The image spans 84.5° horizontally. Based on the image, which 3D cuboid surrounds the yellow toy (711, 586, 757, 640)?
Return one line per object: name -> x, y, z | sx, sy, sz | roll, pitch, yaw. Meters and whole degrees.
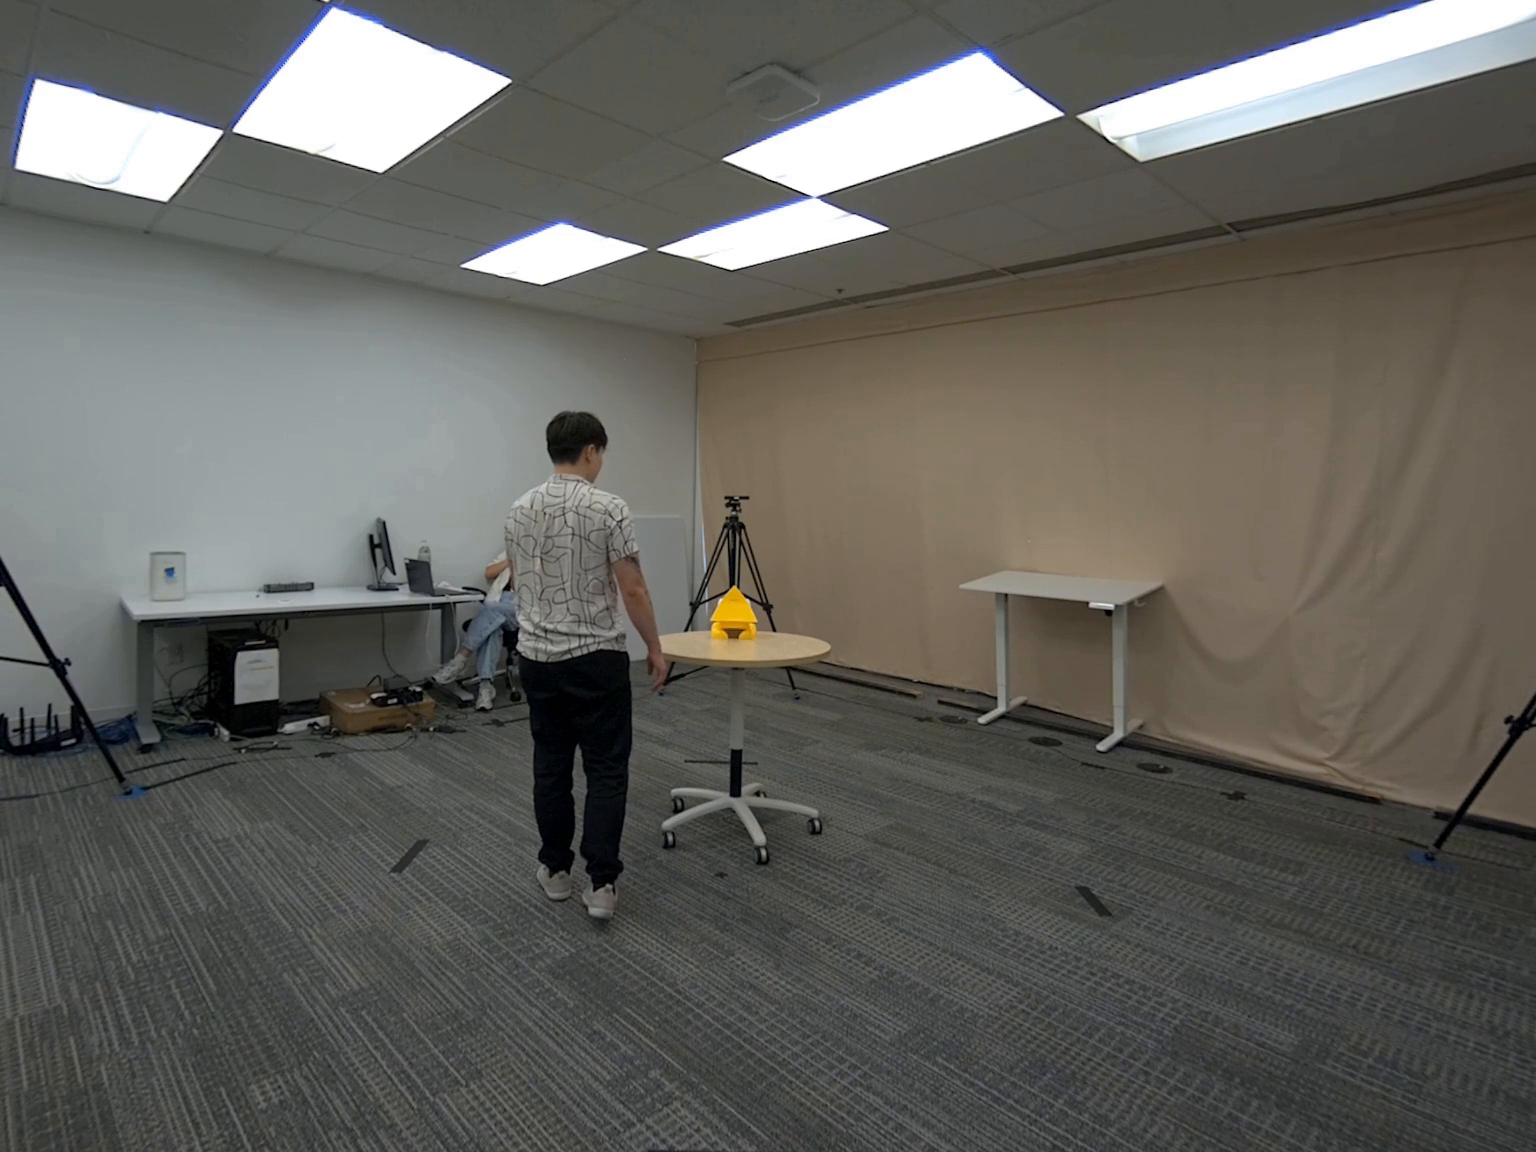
yellow toy -> -0.159, 0.149, 3.720 | 0.205, 0.230, 0.194 | 1, 6, -1
